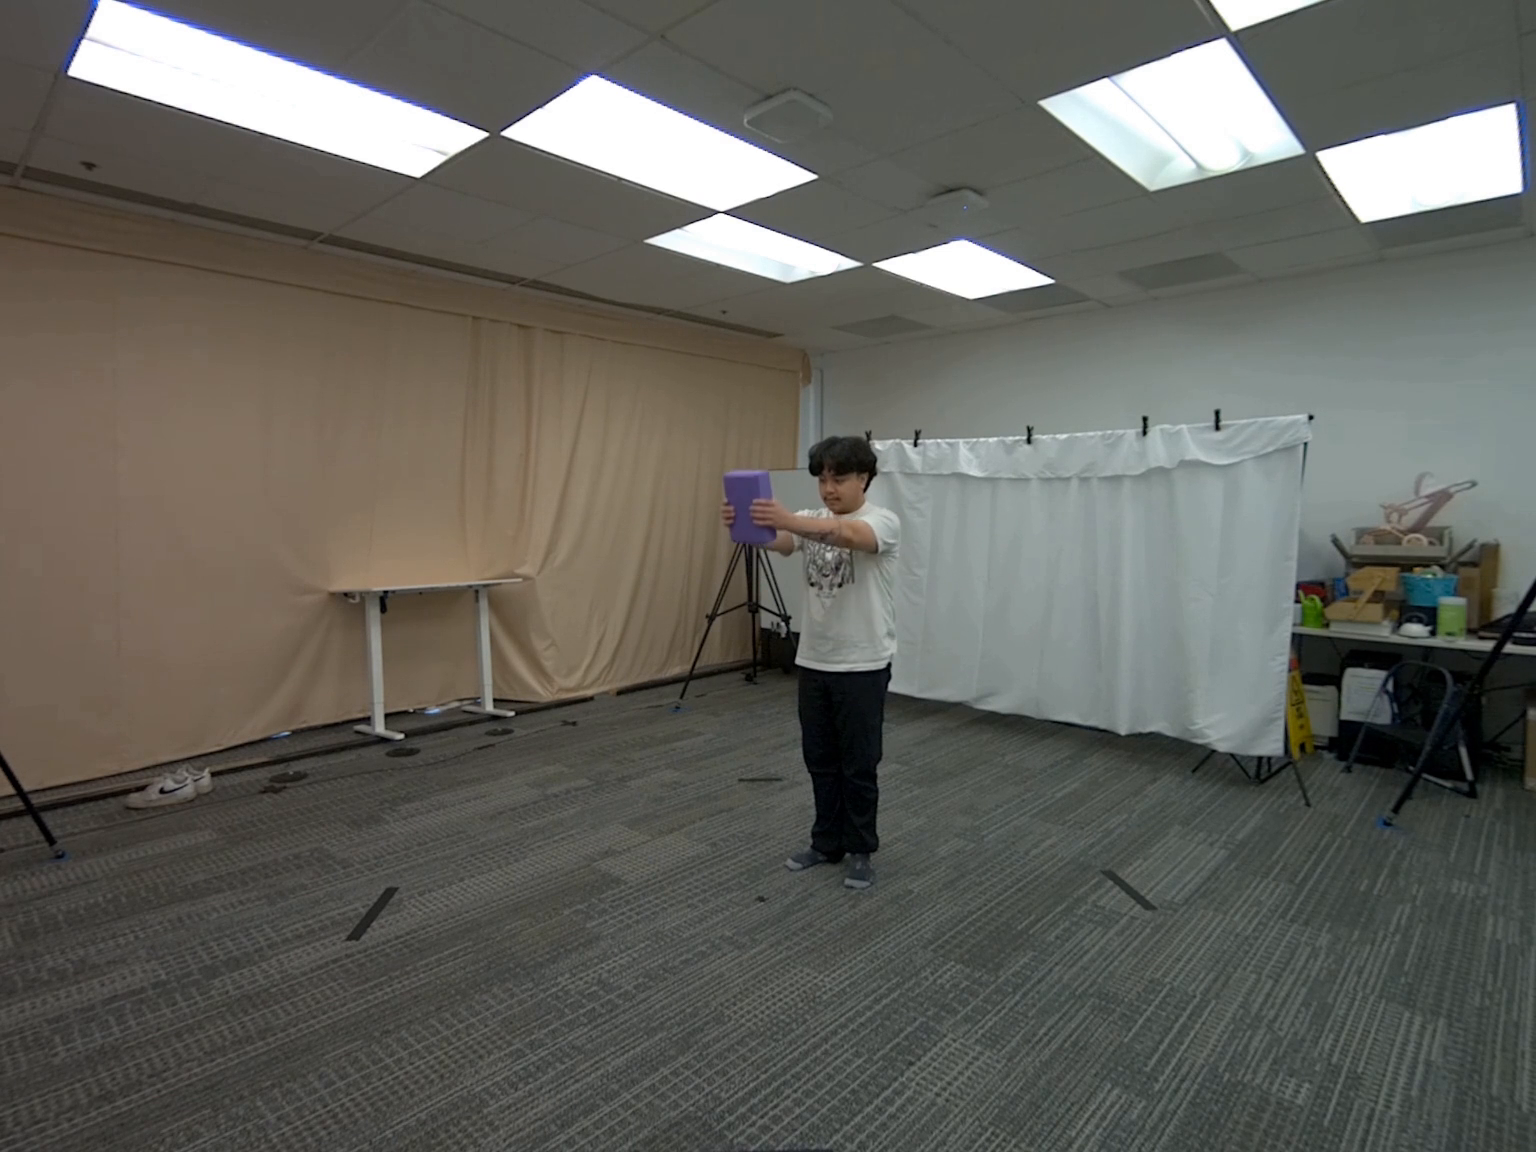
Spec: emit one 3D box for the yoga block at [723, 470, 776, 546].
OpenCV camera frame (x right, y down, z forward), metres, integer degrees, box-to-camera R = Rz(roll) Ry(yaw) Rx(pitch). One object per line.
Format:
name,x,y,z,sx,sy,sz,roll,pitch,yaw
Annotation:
yoga block,-0.055,-0.224,2.750,0.154,0.227,0.075,2,17,35
